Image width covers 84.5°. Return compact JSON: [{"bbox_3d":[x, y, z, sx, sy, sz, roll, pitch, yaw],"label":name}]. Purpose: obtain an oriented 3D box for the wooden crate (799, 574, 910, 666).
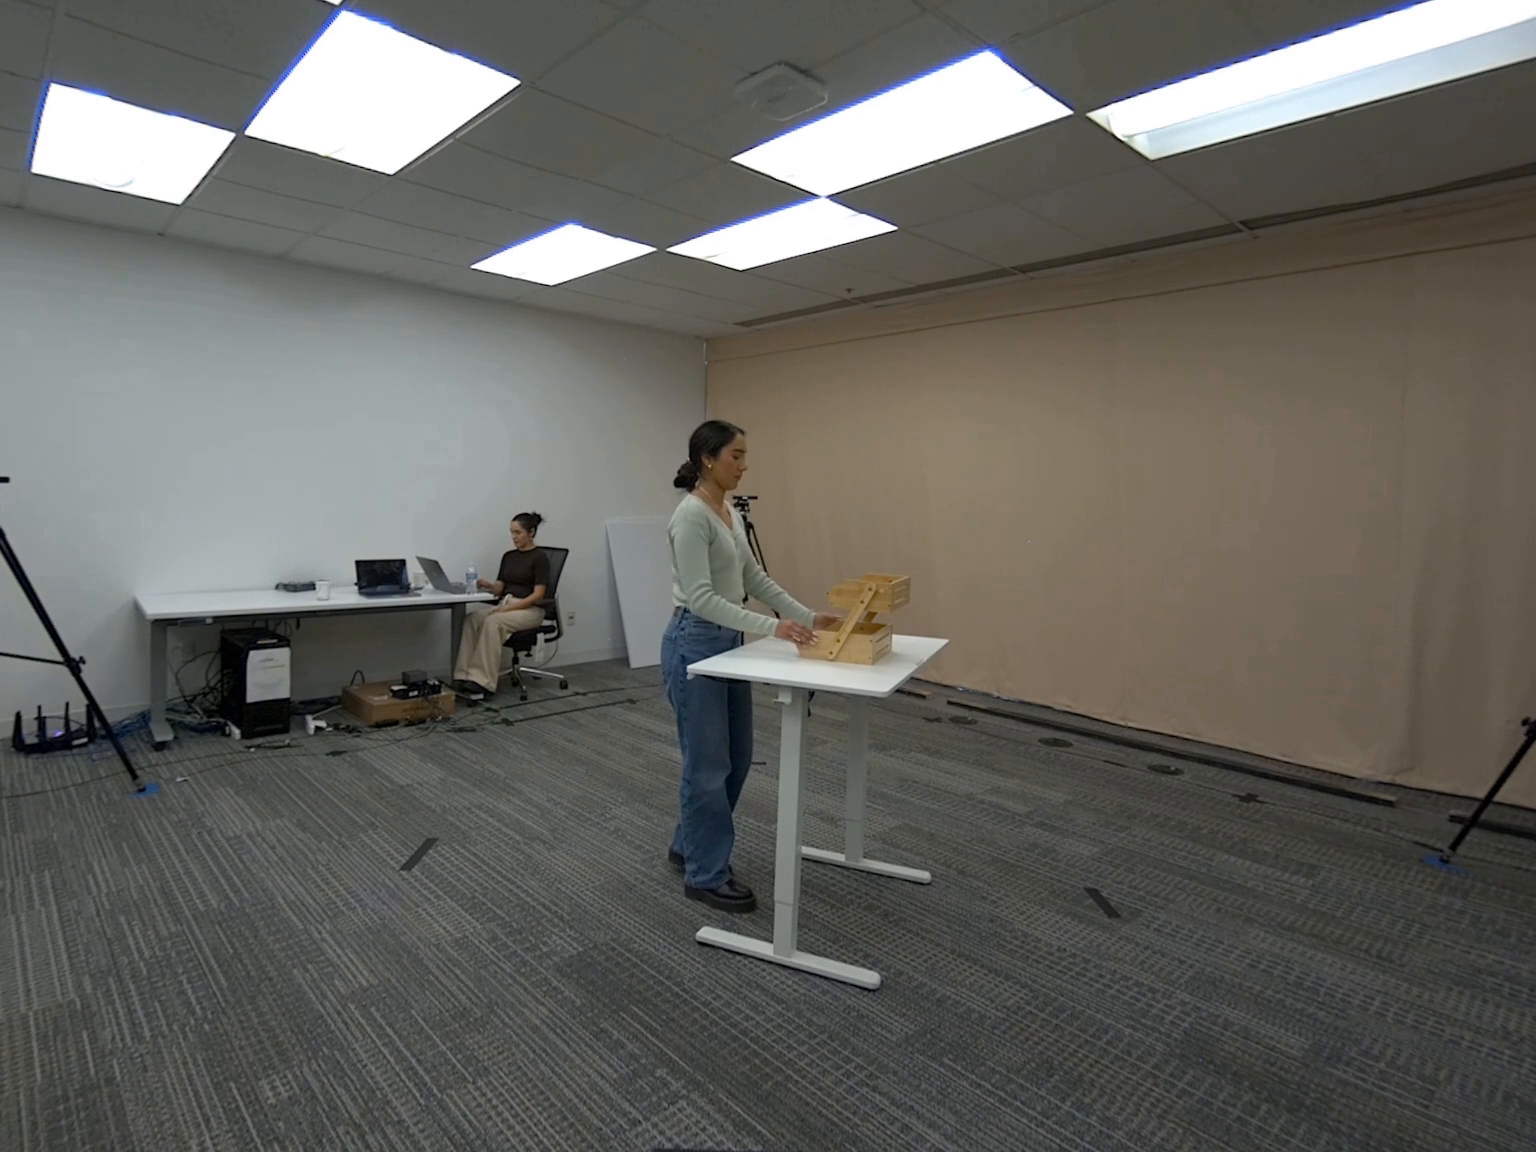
[{"bbox_3d":[0.272,0.129,2.768,0.307,0.272,0.320,4,5,22],"label":"wooden crate"}]
